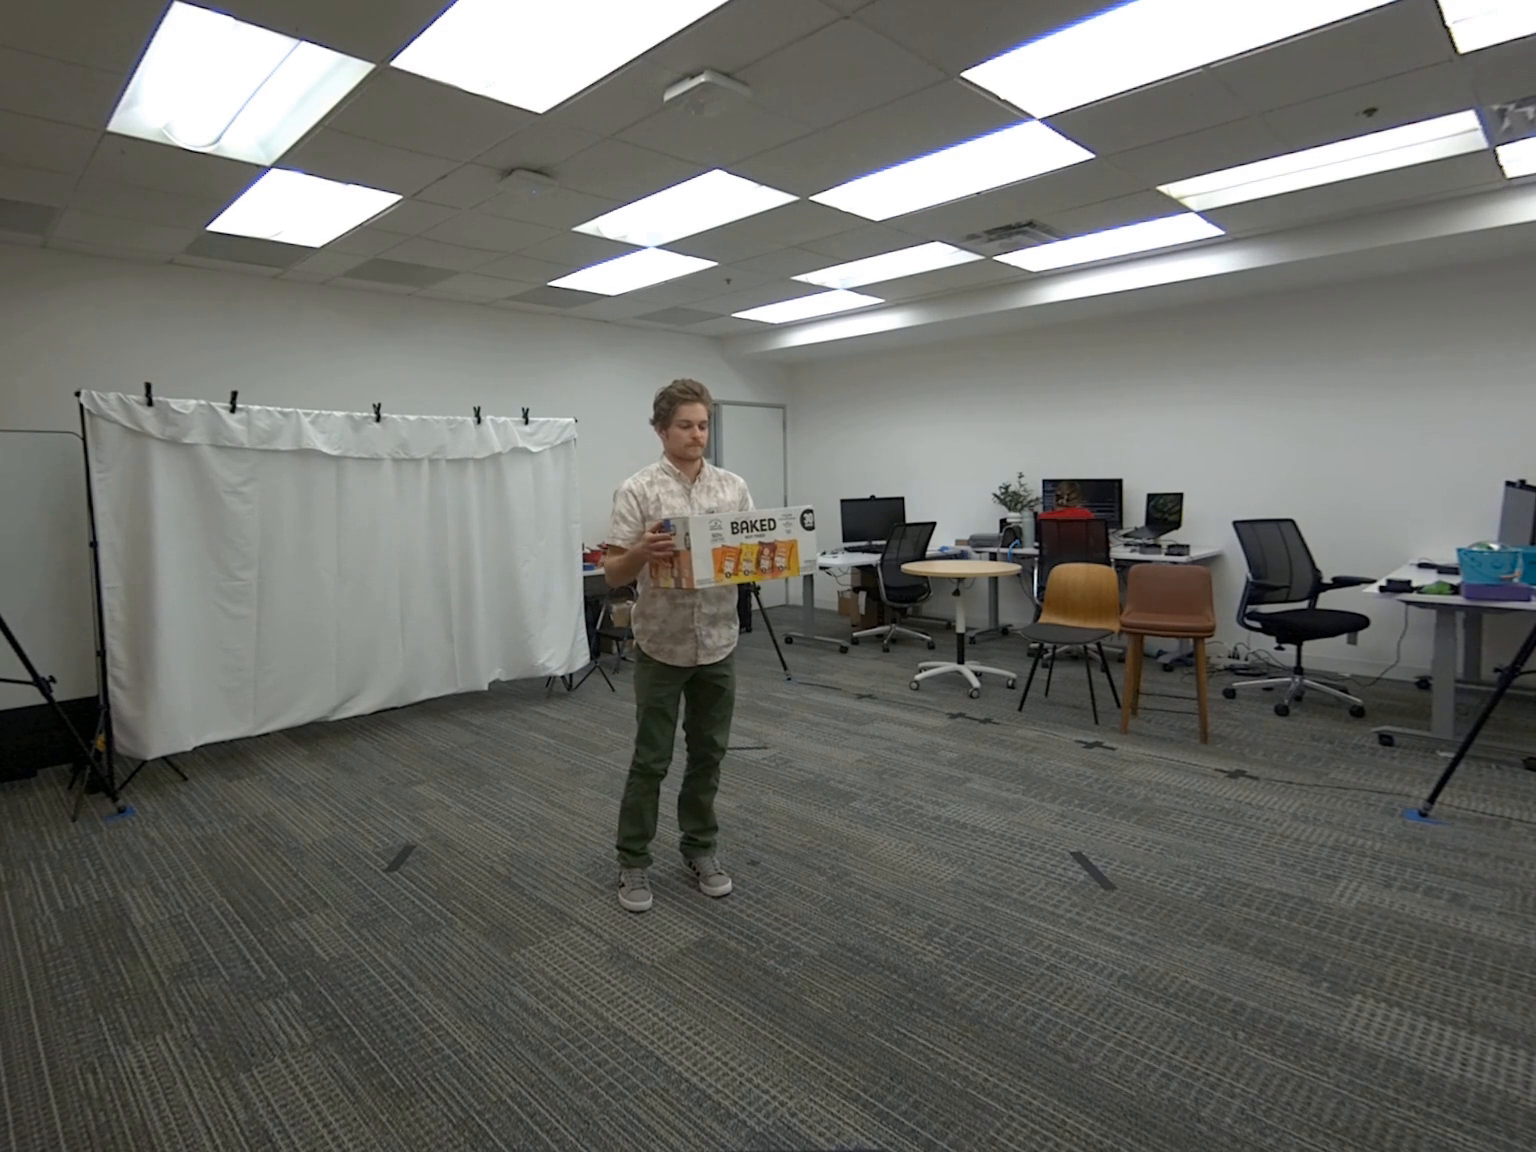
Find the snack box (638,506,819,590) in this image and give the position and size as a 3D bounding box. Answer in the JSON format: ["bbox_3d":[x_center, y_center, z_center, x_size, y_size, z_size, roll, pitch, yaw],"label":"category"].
[{"bbox_3d":[-0.114,-0.084,2.568,0.396,0.205,0.348,-7,3,-28],"label":"snack box"}]
